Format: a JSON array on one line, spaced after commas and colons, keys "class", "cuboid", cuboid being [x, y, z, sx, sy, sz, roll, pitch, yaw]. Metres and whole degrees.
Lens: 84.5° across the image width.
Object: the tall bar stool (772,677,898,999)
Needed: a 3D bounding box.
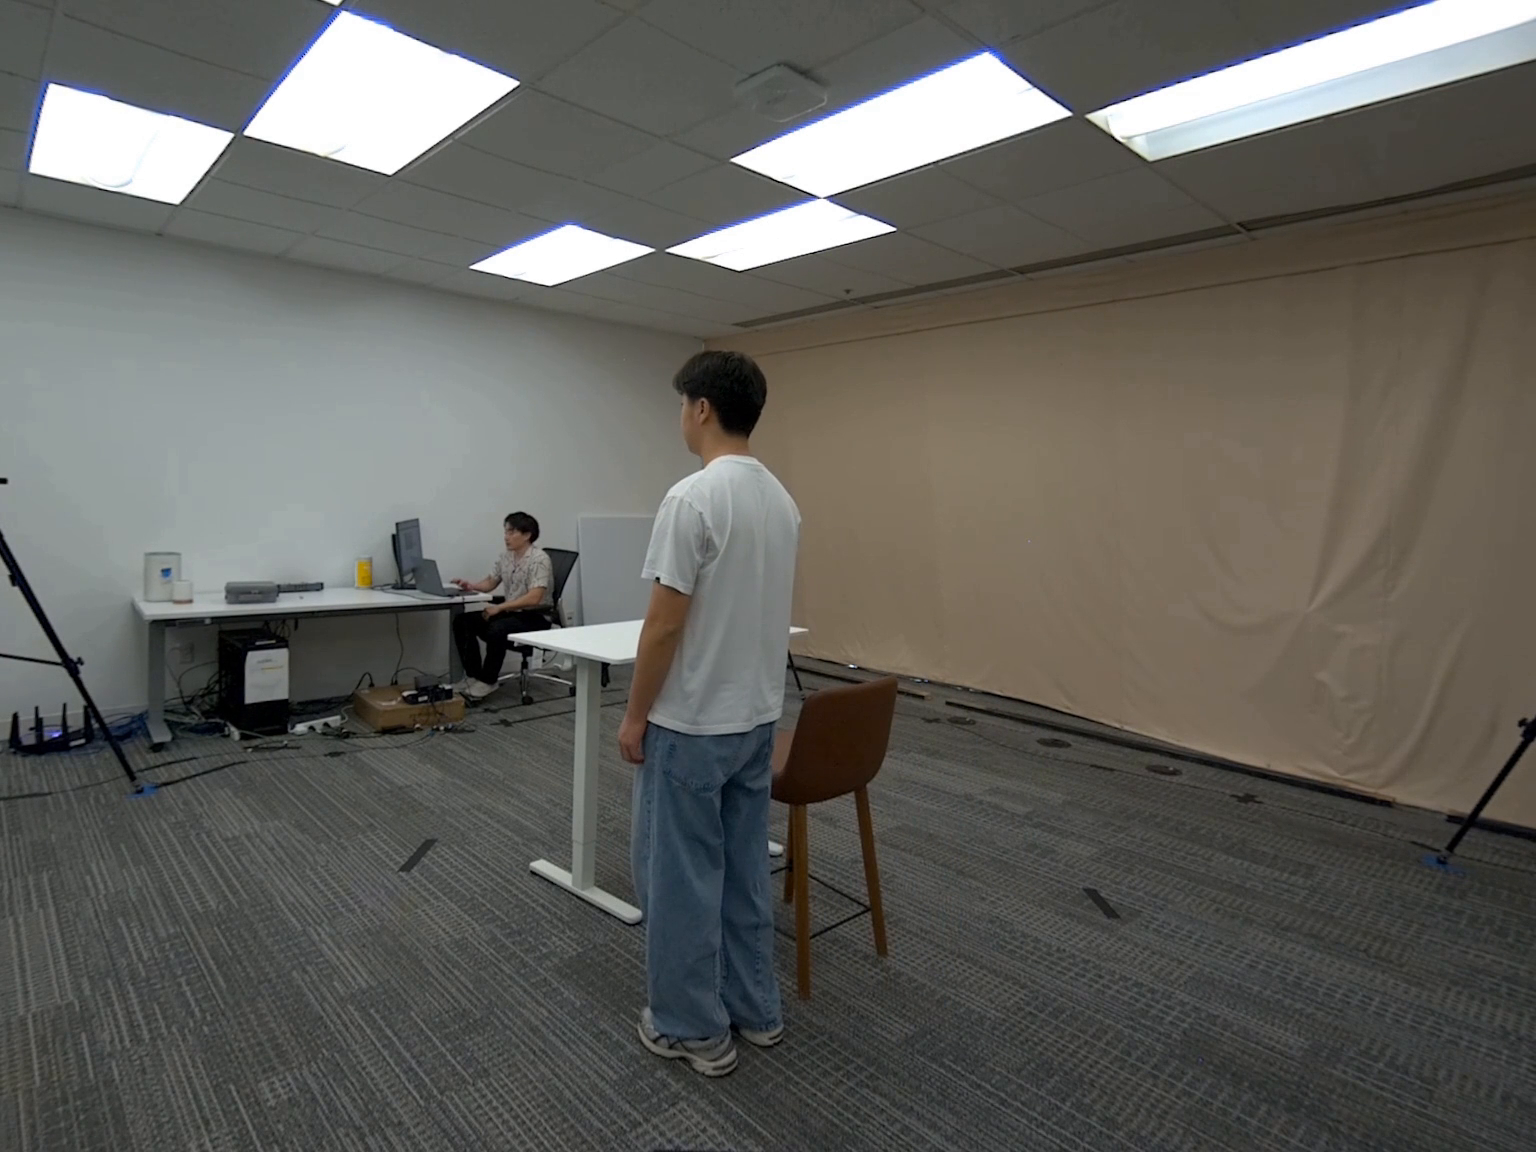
[{"class": "tall bar stool", "cuboid": [0.093, 0.720, 2.609, 0.446, 0.886, 0.480, -2, 7, -42]}]
